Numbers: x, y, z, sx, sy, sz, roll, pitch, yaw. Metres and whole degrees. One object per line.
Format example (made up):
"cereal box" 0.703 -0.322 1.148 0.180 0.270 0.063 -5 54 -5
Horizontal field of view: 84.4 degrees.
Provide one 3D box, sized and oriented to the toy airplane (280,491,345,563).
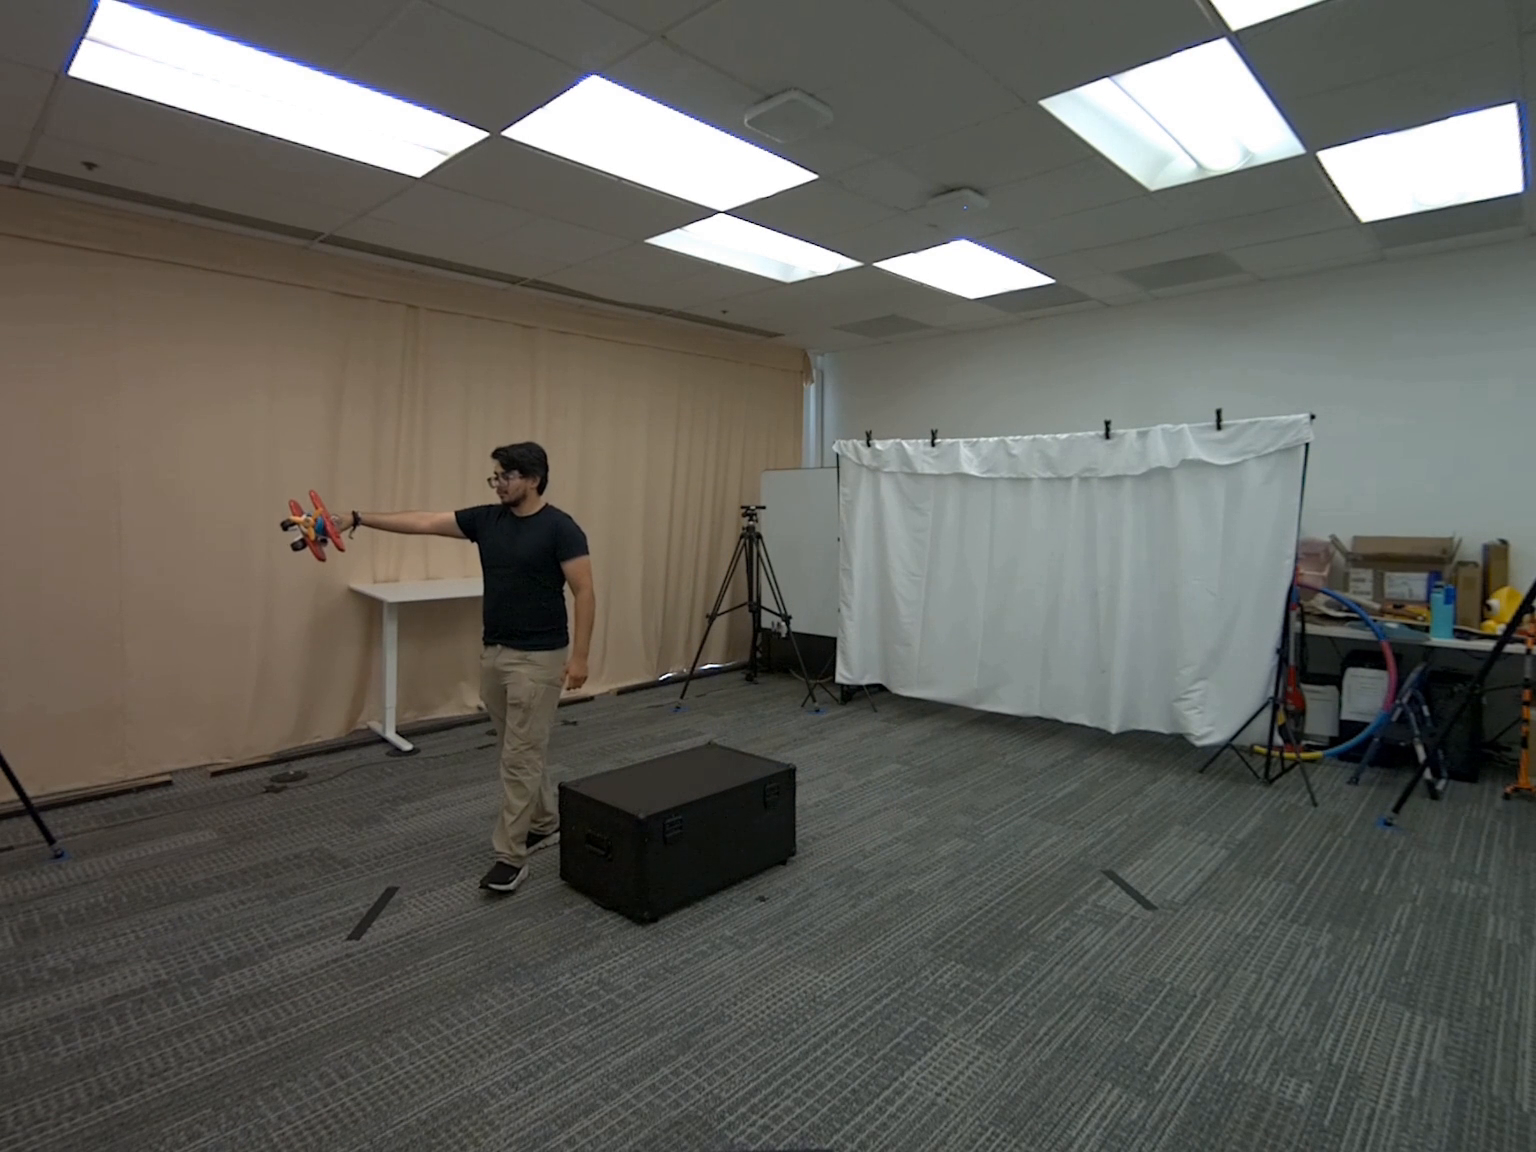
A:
"toy airplane" -1.686 -0.194 3.124 0.157 0.245 0.264 -28 25 5
